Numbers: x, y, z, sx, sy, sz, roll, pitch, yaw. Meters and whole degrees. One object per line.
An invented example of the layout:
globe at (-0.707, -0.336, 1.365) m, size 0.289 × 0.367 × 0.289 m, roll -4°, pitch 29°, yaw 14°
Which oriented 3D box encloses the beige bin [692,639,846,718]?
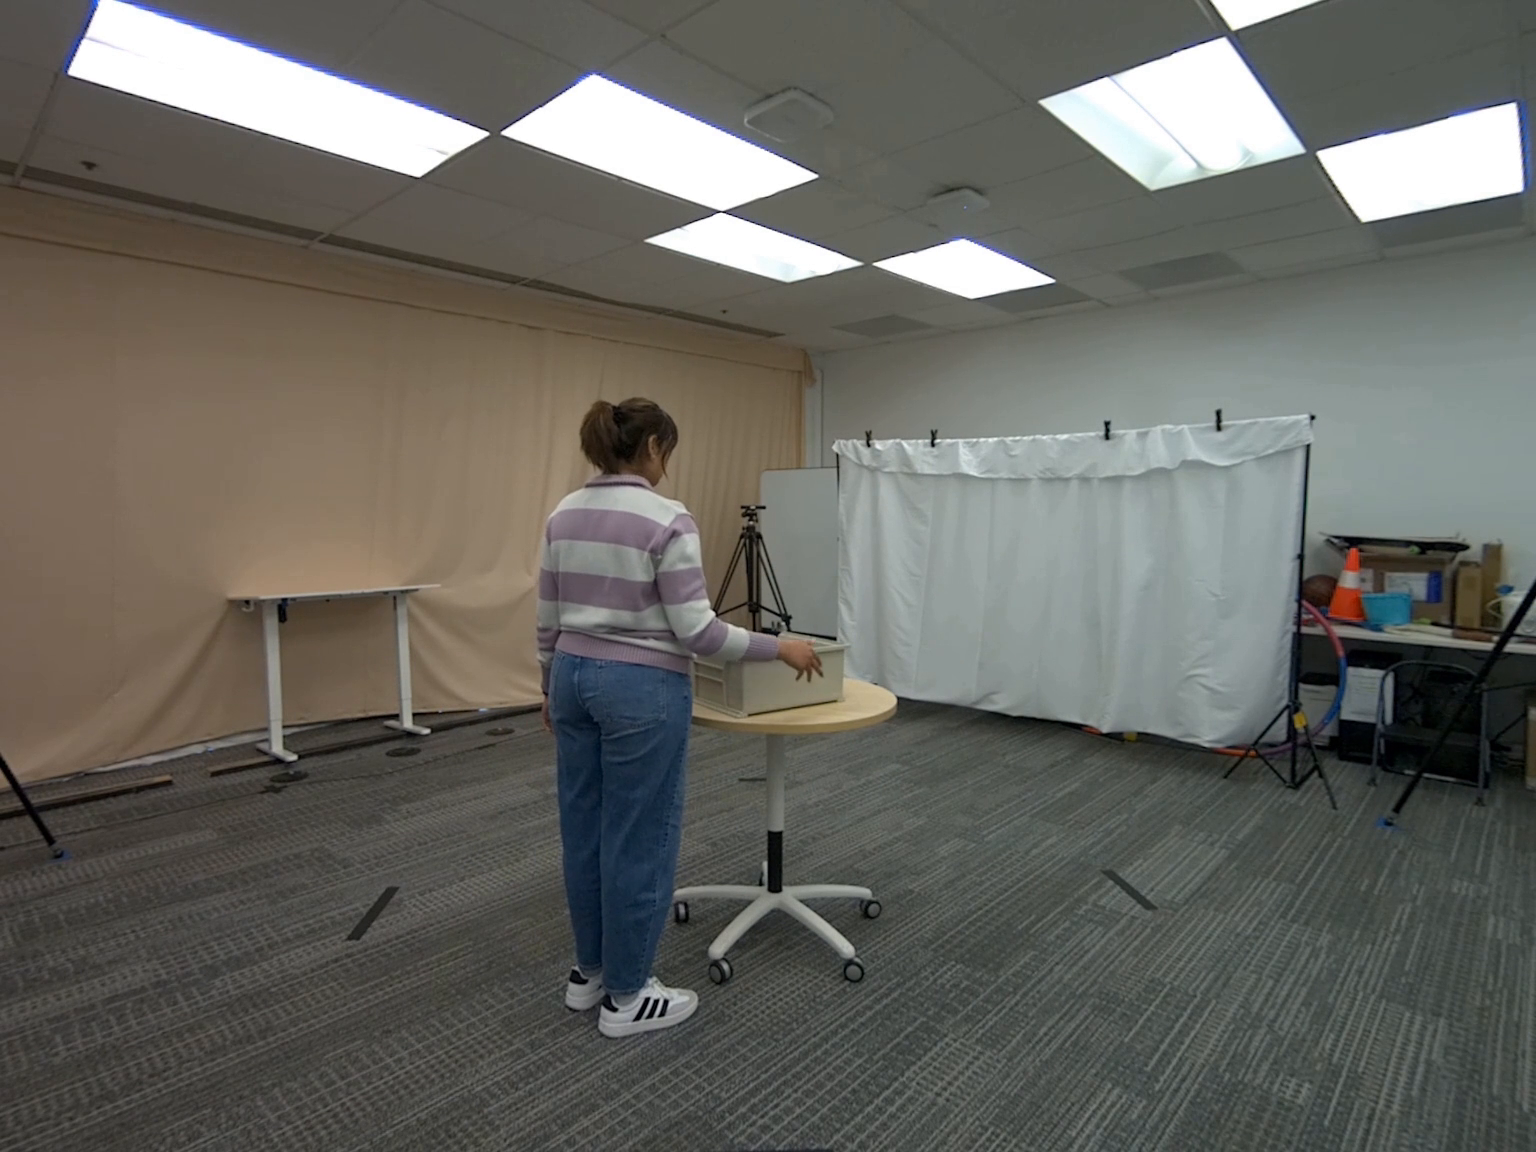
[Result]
beige bin at (-0.017, 0.294, 2.647) m, size 0.410 × 0.188 × 0.389 m, roll -3°, pitch 7°, yaw -34°
